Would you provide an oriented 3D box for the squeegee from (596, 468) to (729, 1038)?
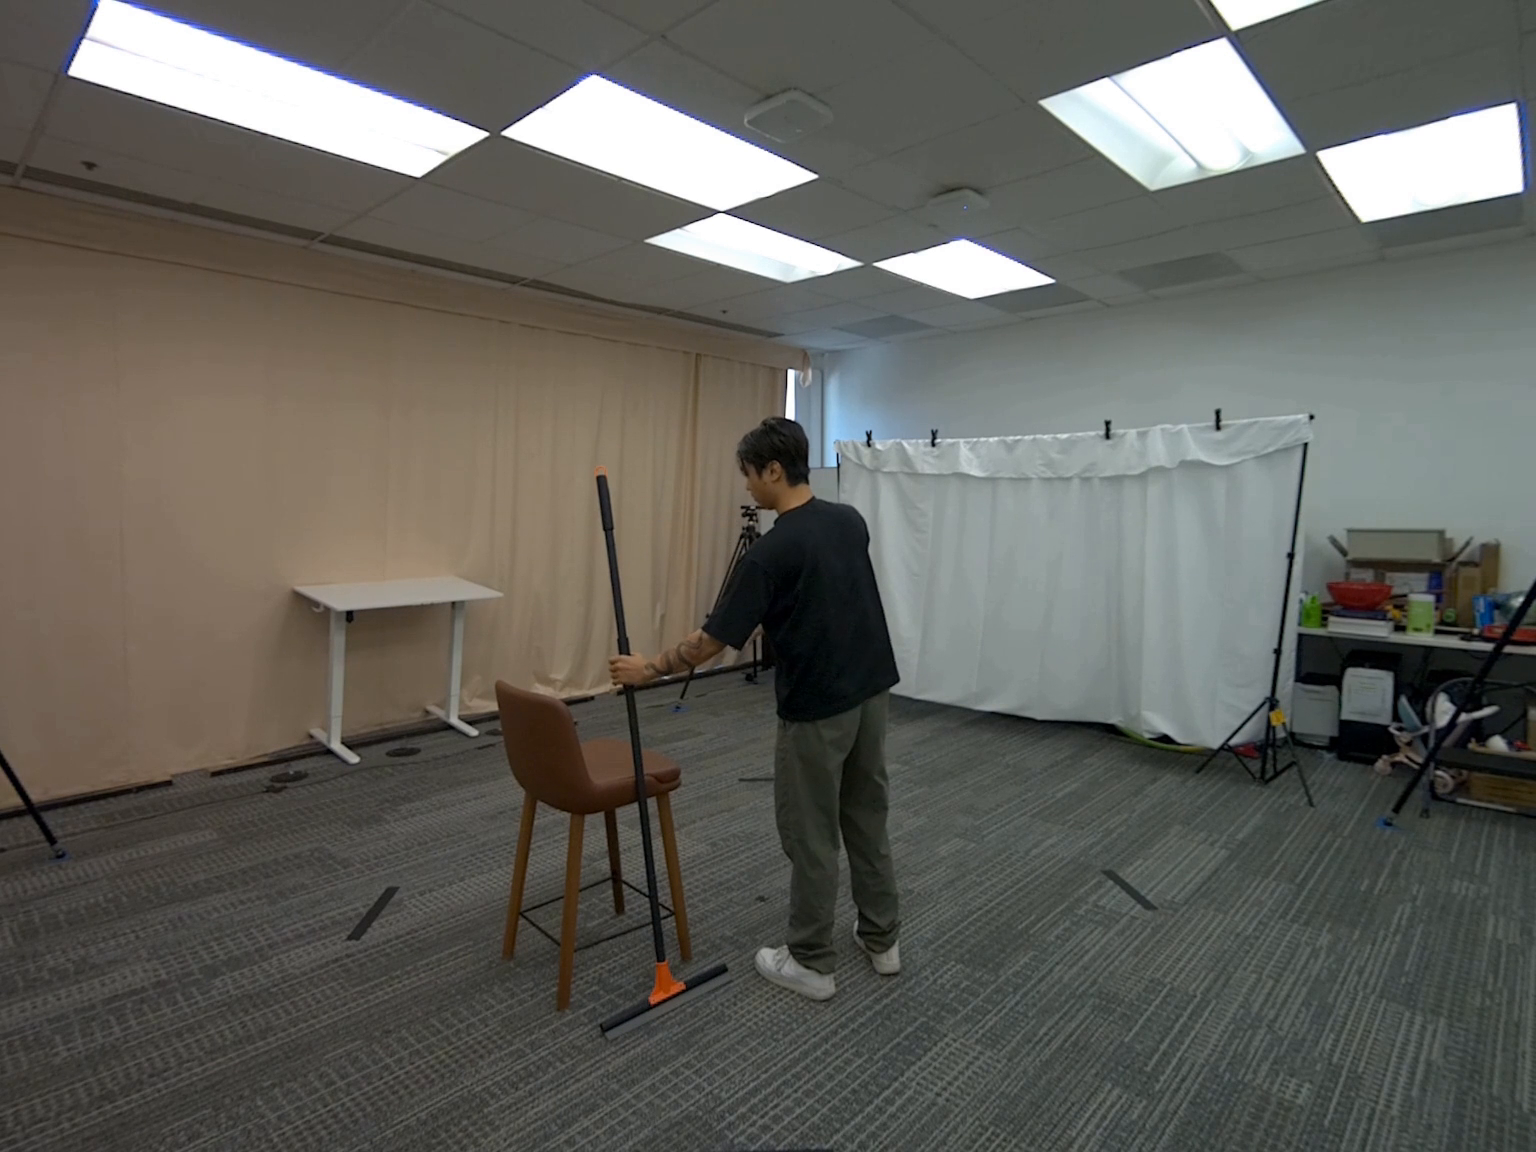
[{"bbox_3d":[-0.383,0.429,2.424,0.426,1.541,0.054,-5,-3,-29],"label":"squeegee"}]
